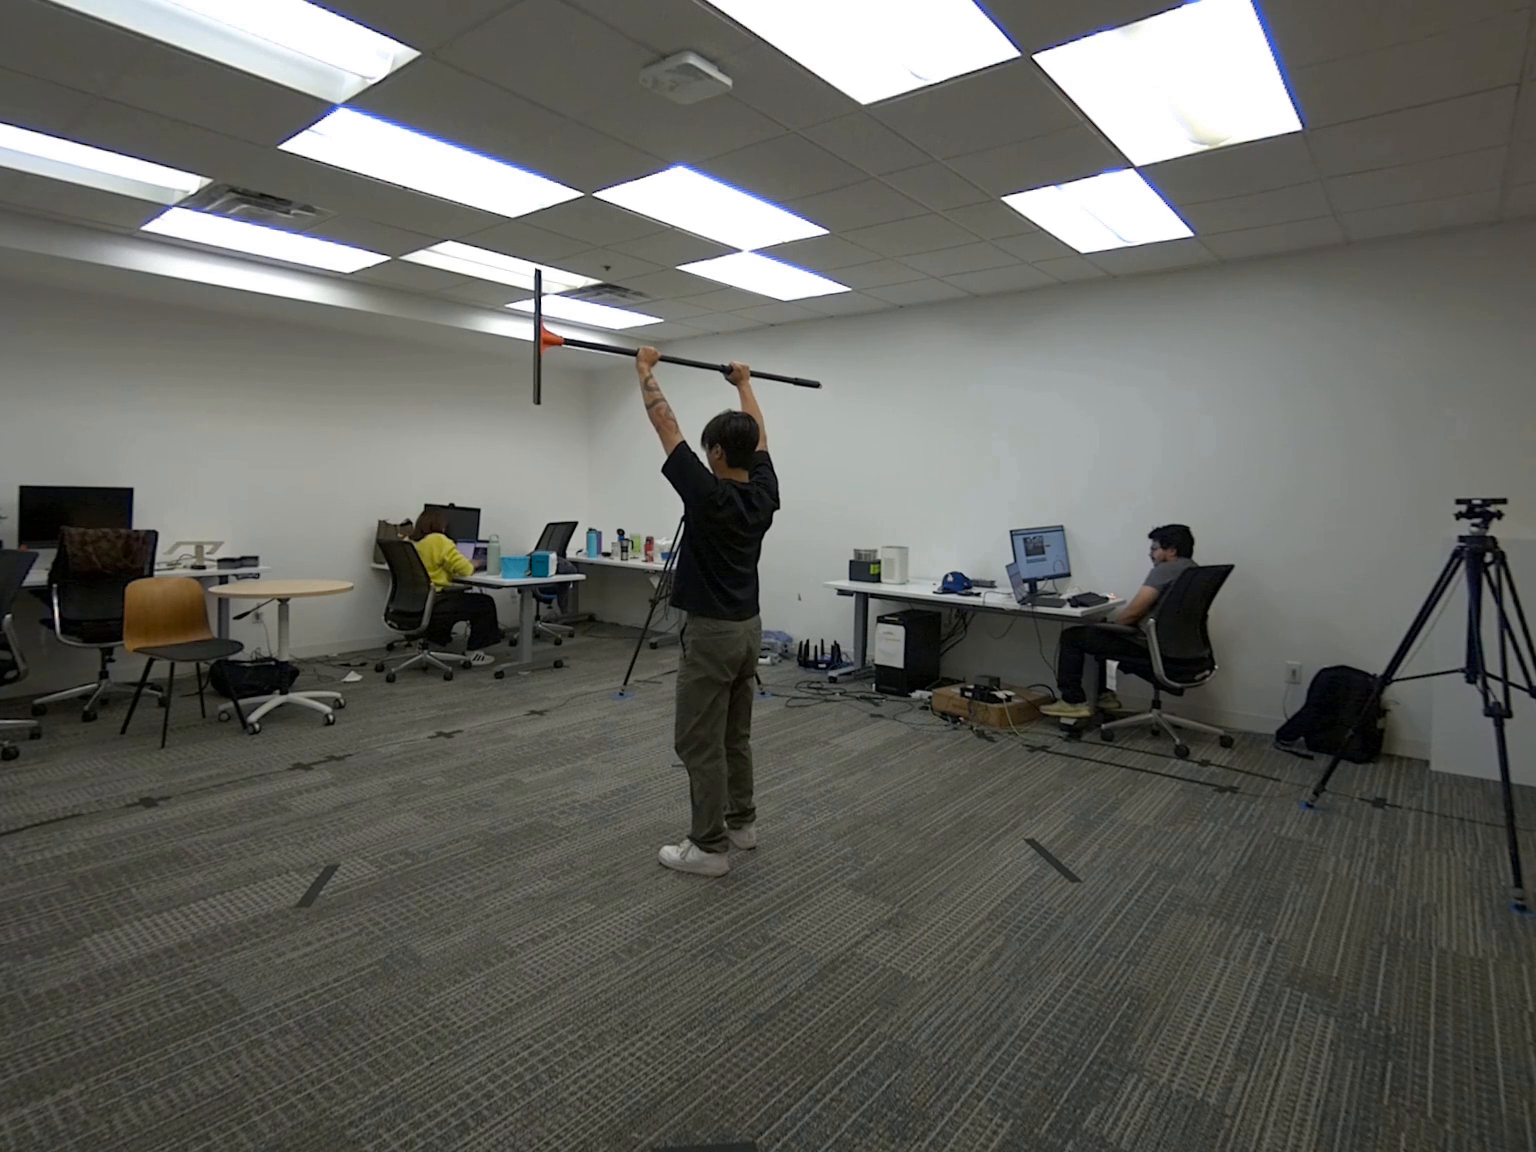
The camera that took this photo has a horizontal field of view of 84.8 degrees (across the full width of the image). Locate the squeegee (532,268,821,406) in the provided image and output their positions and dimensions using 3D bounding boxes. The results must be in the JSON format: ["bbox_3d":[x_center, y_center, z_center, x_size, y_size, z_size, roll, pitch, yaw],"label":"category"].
[{"bbox_3d":[-0.277,-0.814,3.290,0.054,0.437,1.491,1,3,42],"label":"squeegee"}]
